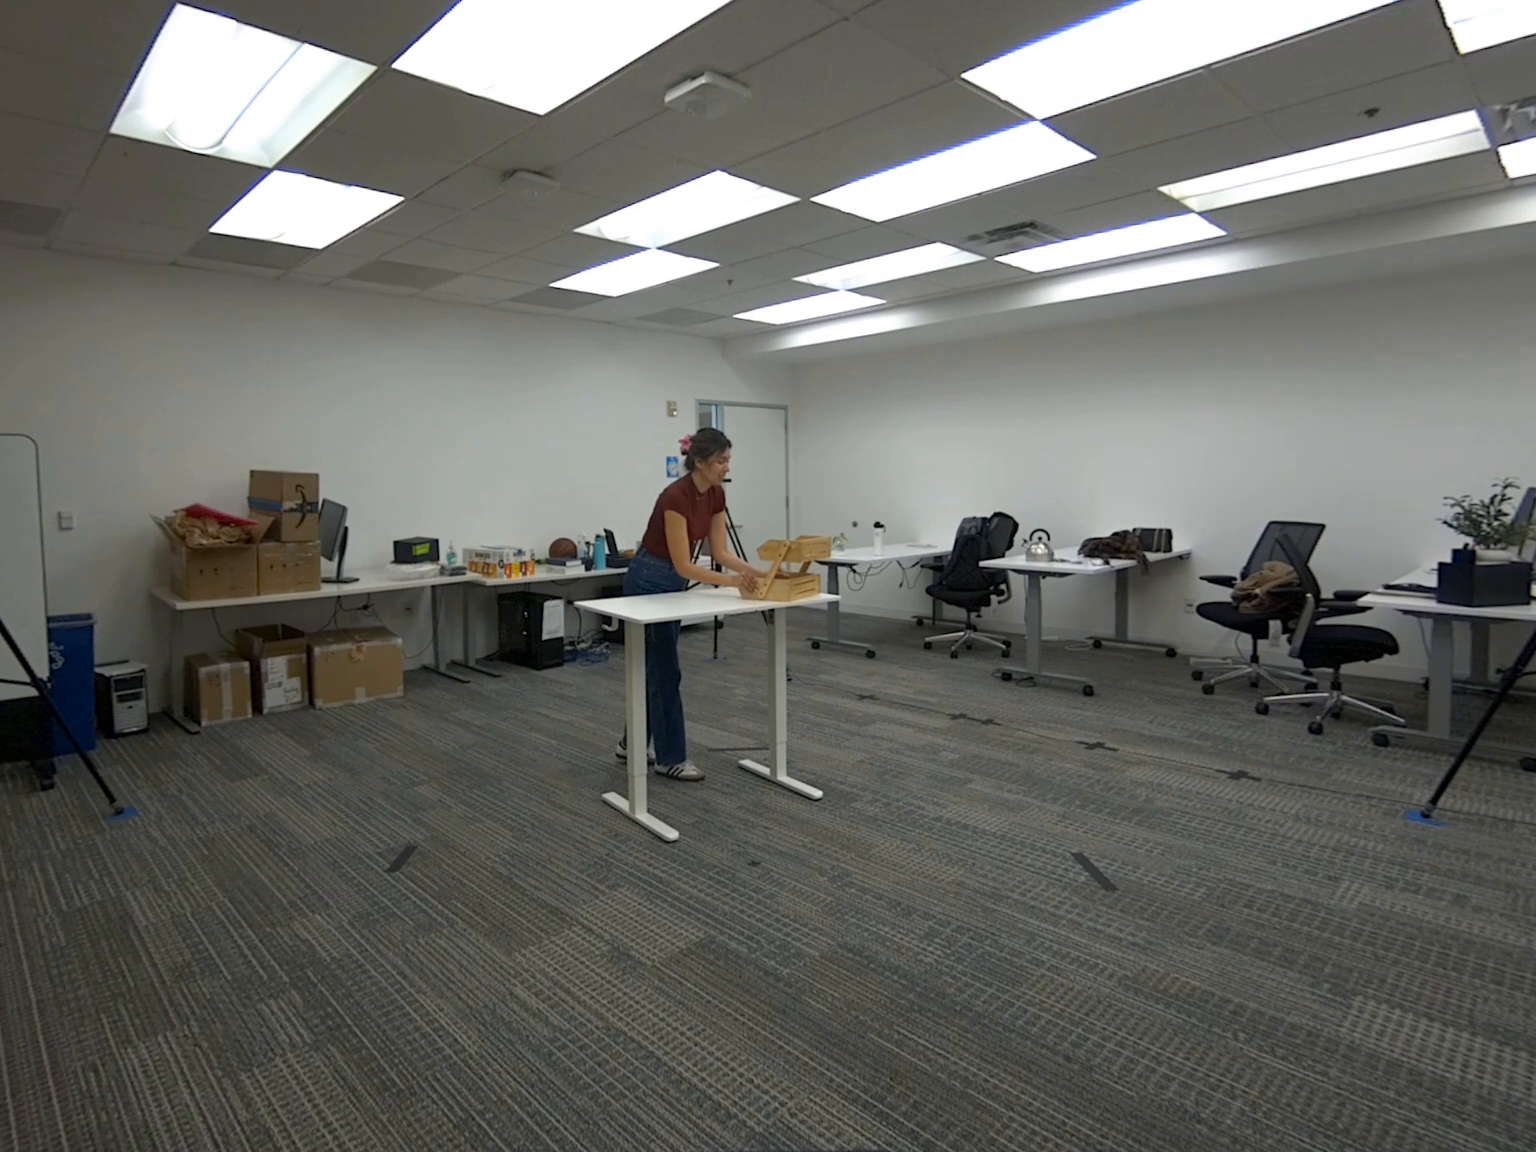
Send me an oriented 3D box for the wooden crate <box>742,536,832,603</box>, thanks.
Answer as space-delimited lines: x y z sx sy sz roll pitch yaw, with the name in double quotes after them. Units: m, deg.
0.076 -0.042 3.749 0.310 0.272 0.317 3 6 31 "wooden crate"
